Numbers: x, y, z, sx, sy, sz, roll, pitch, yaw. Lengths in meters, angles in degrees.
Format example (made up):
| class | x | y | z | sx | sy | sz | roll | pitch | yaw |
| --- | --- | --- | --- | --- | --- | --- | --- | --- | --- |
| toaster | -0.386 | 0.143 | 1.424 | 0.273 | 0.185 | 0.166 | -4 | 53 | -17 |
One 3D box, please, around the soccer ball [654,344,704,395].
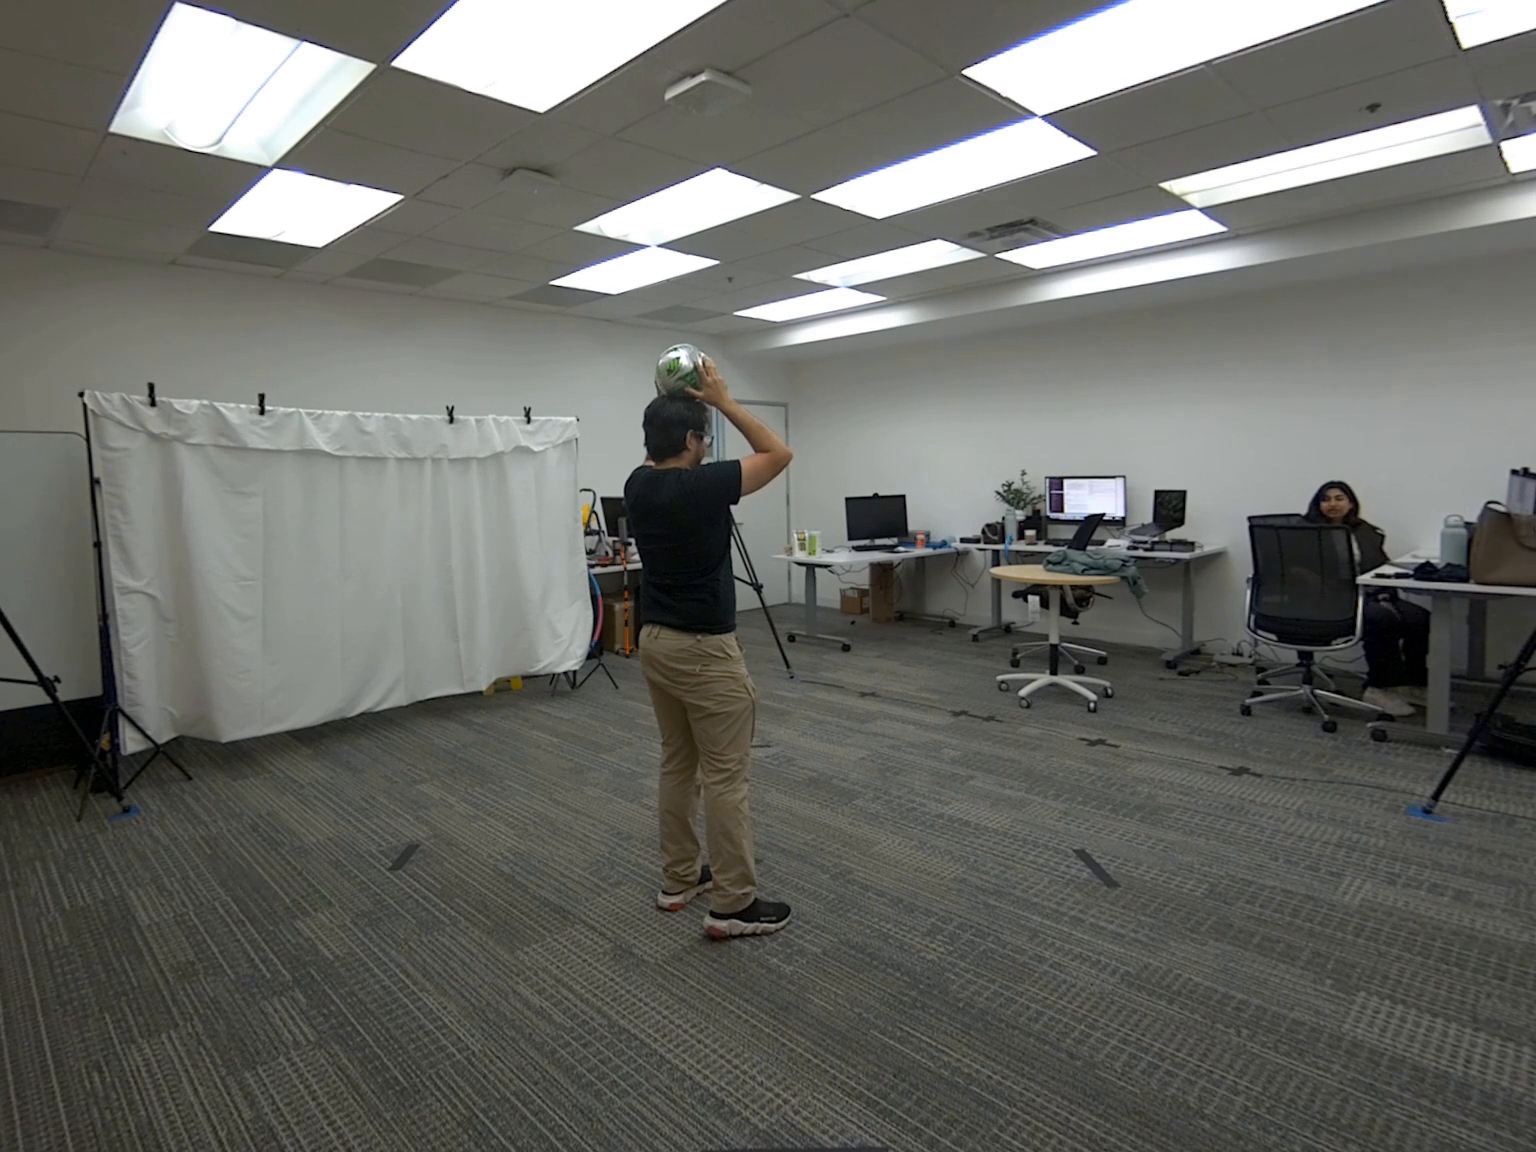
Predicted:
| class | x | y | z | sx | sy | sz | roll | pitch | yaw |
| --- | --- | --- | --- | --- | --- | --- | --- | --- | --- |
| soccer ball | -0.269 | -0.659 | 2.786 | 0.187 | 0.187 | 0.188 | -1 | 5 | -2 |
